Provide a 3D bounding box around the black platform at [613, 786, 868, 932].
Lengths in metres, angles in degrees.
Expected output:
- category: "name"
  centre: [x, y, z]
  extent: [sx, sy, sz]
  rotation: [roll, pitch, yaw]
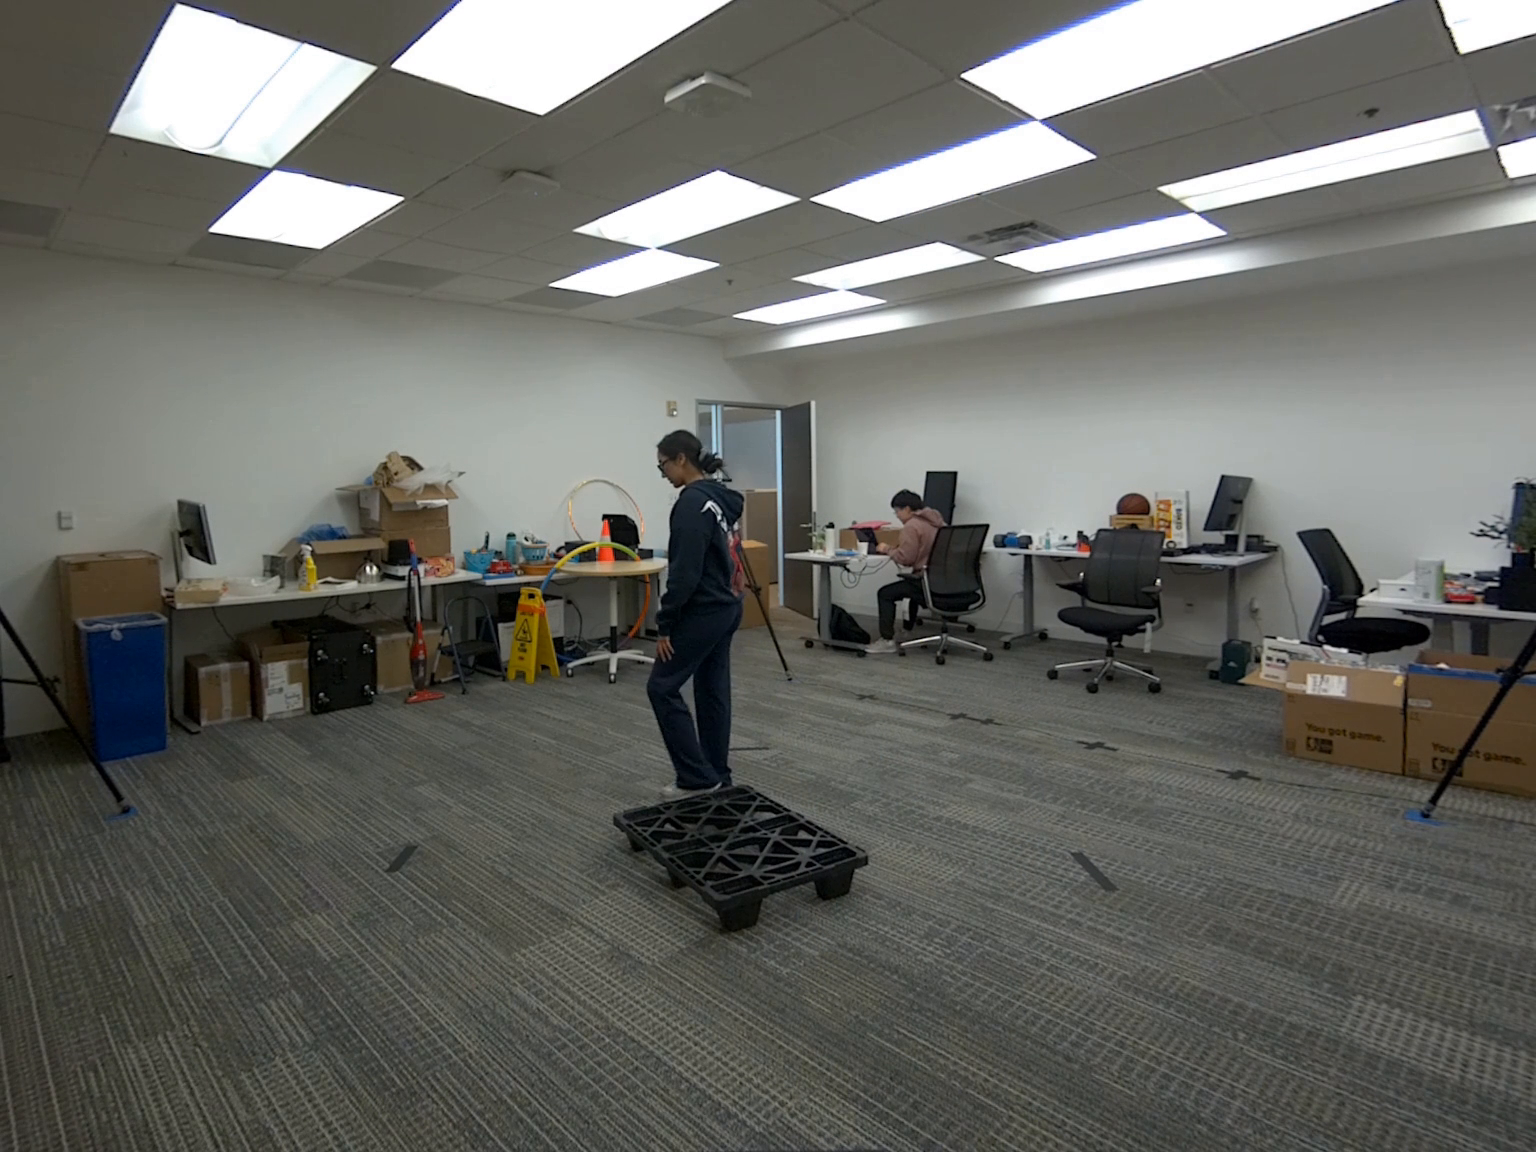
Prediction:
- category: "black platform"
  centre: [-0.122, 0.985, 3.053]
  extent: [0.591, 0.142, 0.829]
  rotation: [-6, 8, -32]
